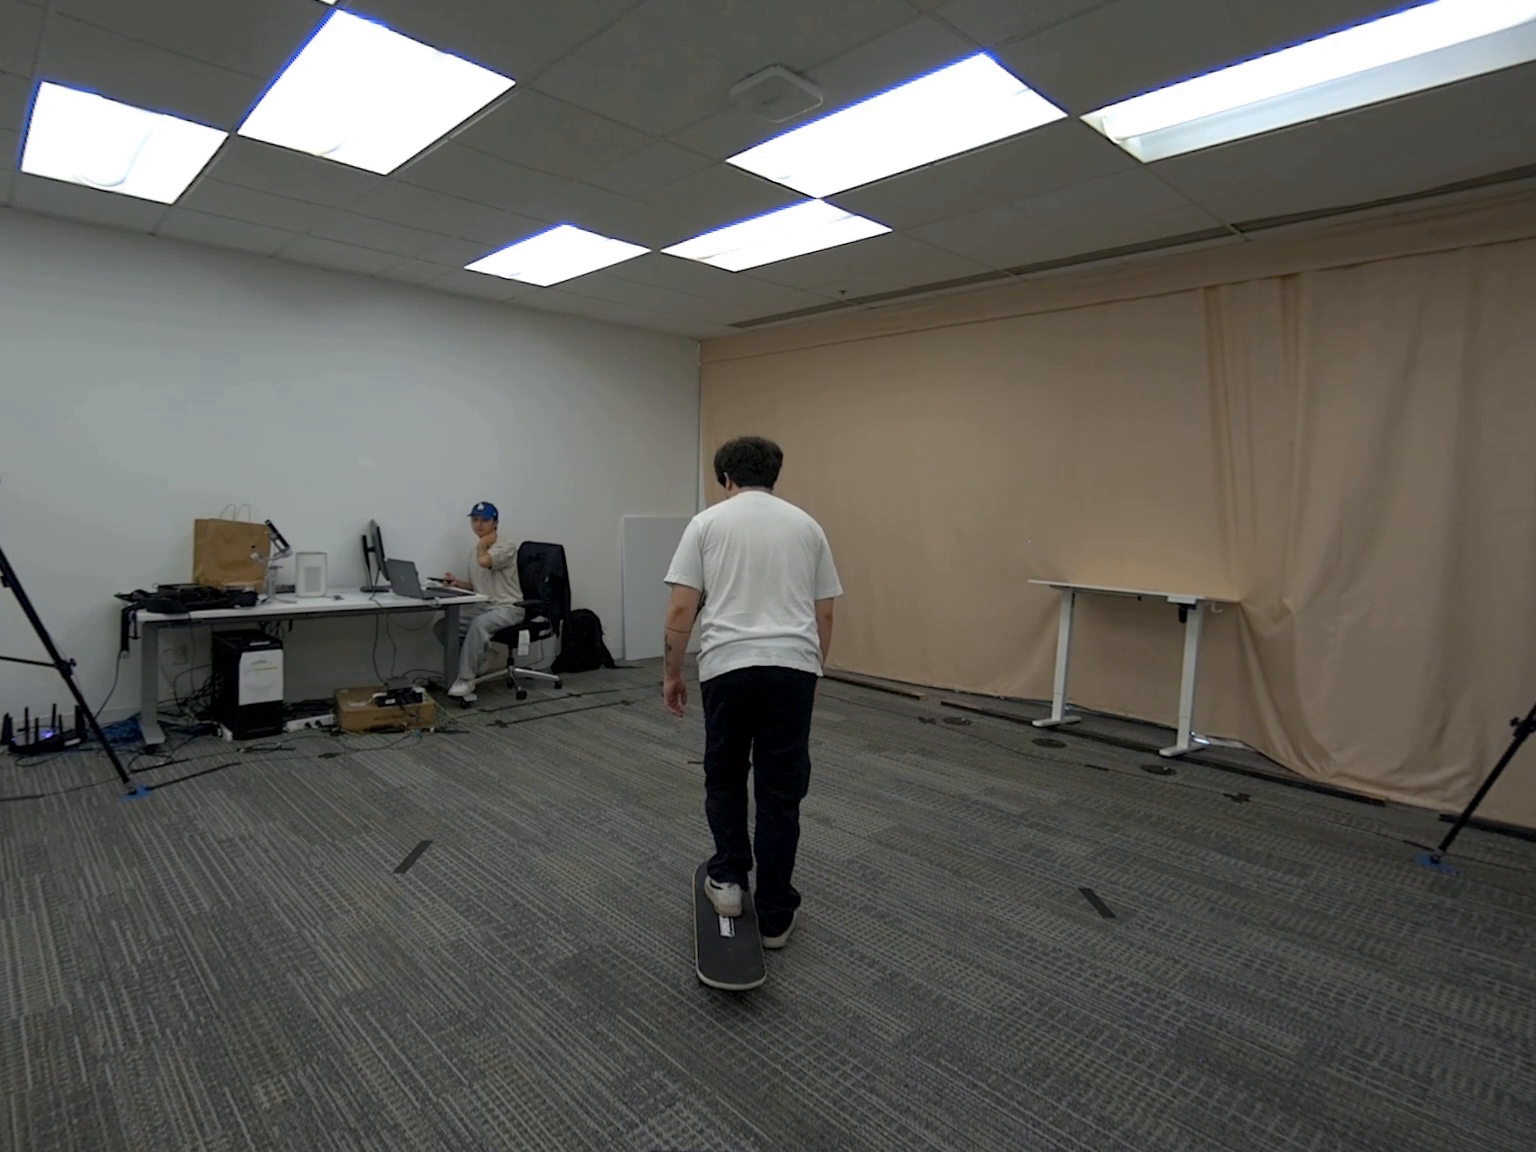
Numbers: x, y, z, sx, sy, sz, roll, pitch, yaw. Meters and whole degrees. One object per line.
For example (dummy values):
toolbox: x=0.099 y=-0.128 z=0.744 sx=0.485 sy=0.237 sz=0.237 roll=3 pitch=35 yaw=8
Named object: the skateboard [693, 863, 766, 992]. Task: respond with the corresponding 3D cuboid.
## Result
skateboard: x=-0.136 y=1.096 z=2.611 sx=0.192 sy=0.110 sz=0.791 roll=2 pitch=5 yaw=-7
